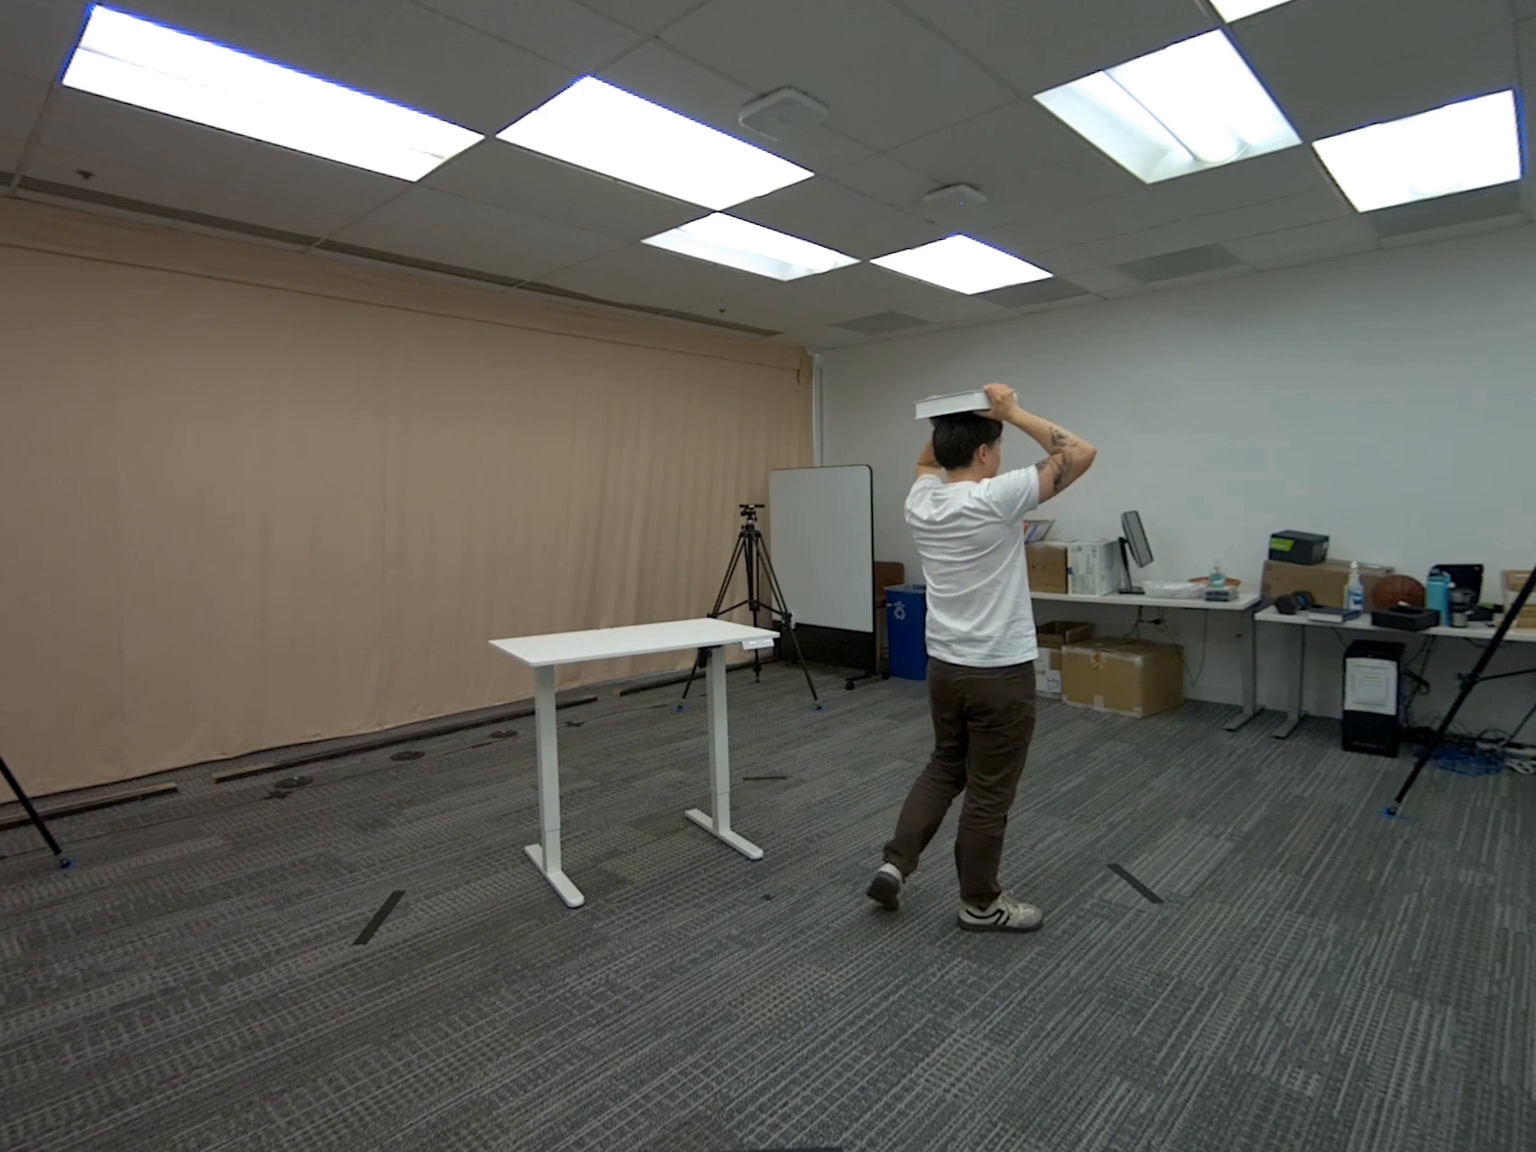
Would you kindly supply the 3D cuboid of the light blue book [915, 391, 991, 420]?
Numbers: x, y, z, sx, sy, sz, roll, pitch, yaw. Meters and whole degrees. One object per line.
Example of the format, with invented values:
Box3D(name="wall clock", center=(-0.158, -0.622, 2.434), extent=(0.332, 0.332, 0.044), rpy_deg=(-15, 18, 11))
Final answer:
Box3D(name="light blue book", center=(0.631, -0.547, 2.682), extent=(0.186, 0.059, 0.268), rpy_deg=(-7, 6, -30))
